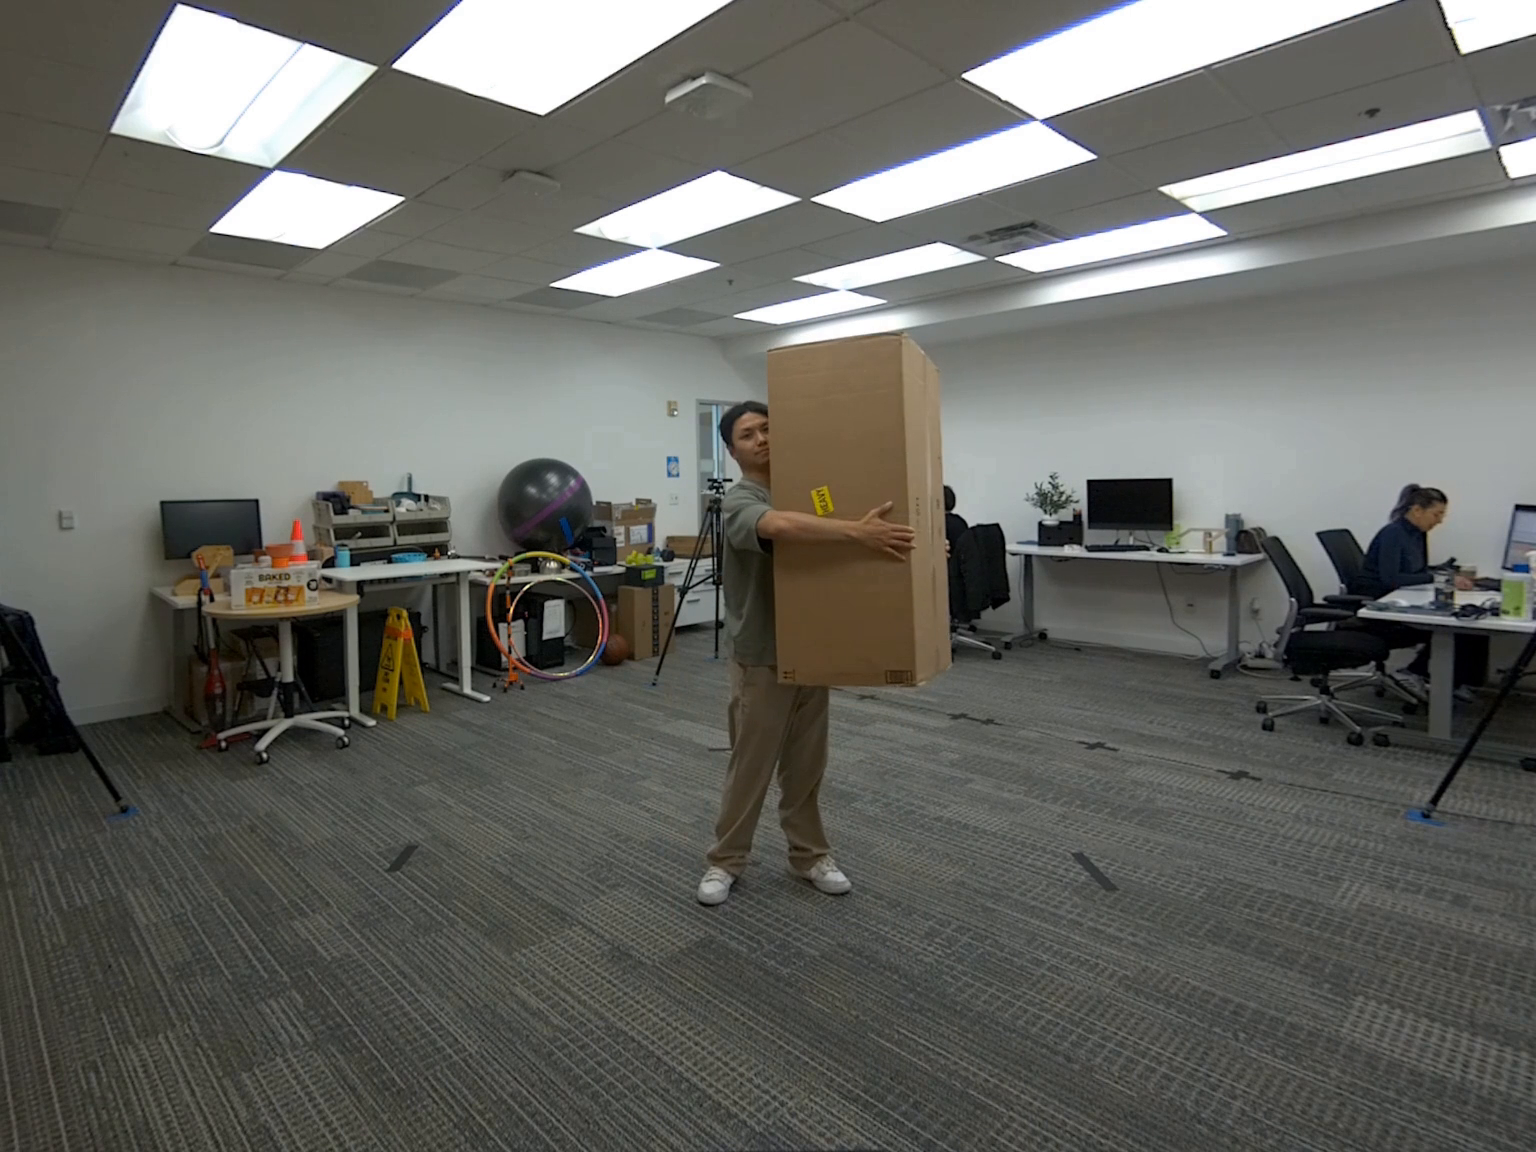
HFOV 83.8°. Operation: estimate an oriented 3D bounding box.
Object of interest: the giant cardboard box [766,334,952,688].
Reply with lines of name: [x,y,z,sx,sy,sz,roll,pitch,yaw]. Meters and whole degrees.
giant cardboard box: [0.307,-0.195,2.757,0.435,1.028,0.564,-3,-2,24]
